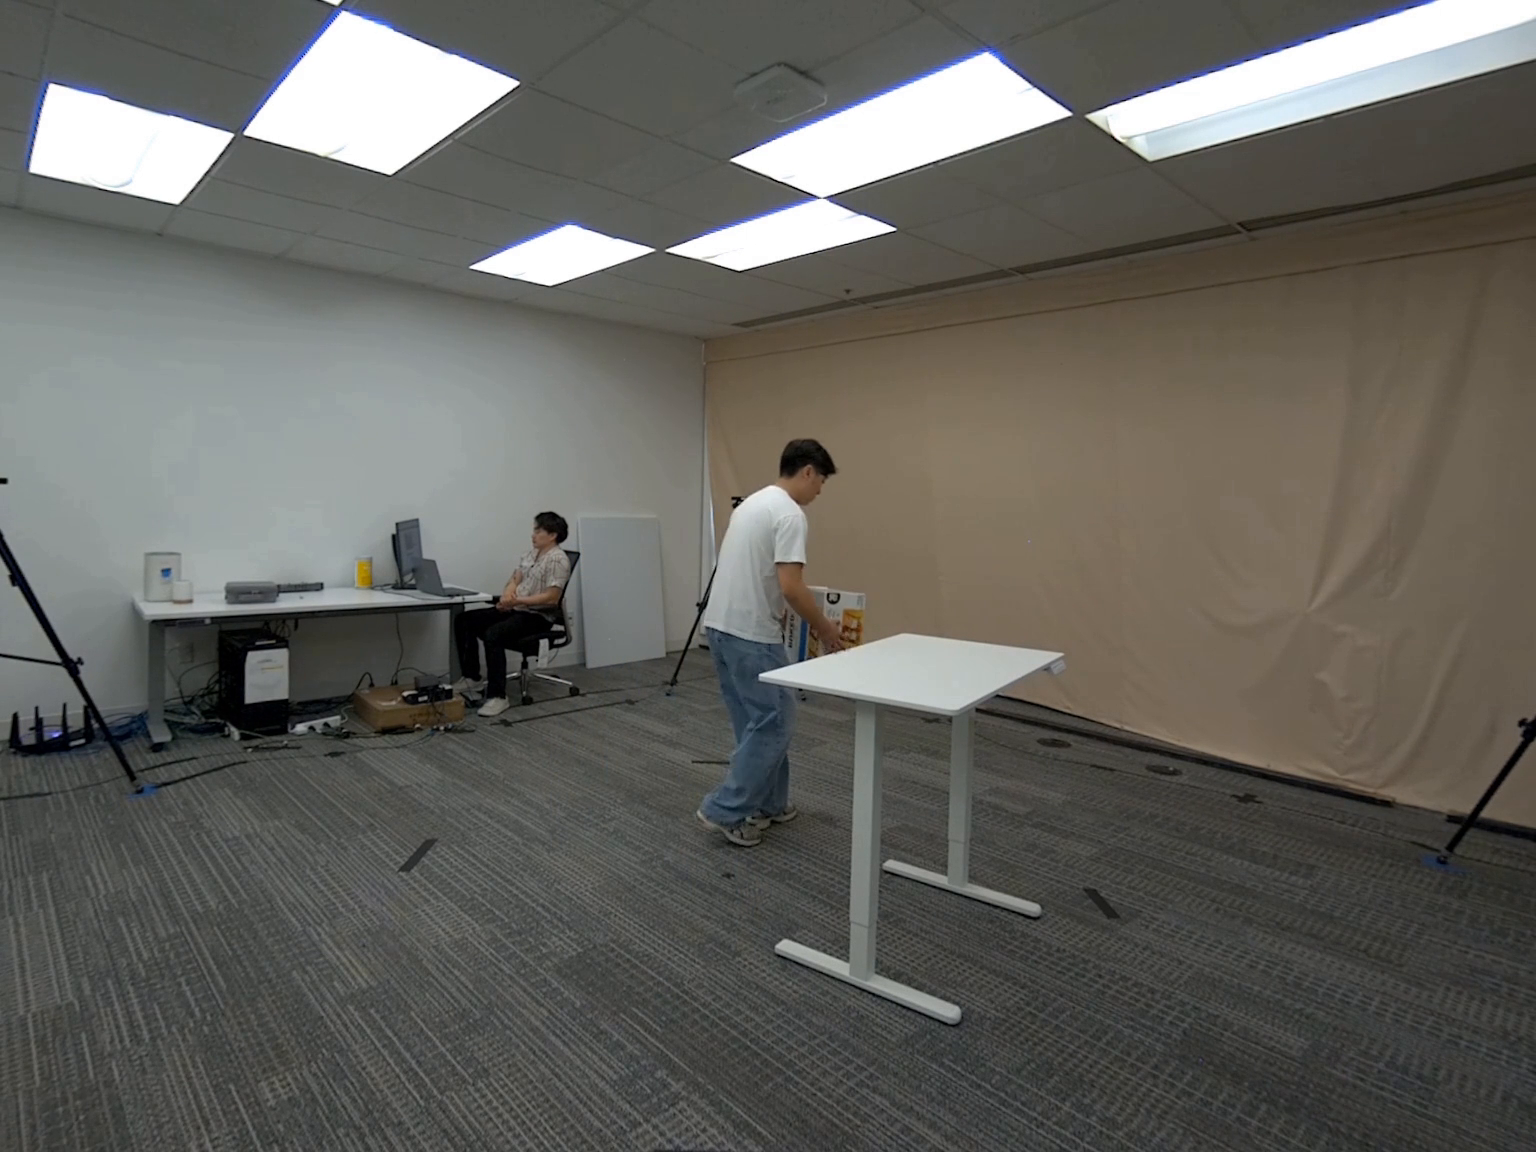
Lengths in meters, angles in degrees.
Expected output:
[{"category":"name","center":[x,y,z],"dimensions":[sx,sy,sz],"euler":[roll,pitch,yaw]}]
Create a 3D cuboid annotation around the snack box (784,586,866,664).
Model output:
[{"category":"snack box","center":[0.231,0.263,3.663],"dimensions":[0.202,0.405,0.347],"euler":[4,1,-24]}]
